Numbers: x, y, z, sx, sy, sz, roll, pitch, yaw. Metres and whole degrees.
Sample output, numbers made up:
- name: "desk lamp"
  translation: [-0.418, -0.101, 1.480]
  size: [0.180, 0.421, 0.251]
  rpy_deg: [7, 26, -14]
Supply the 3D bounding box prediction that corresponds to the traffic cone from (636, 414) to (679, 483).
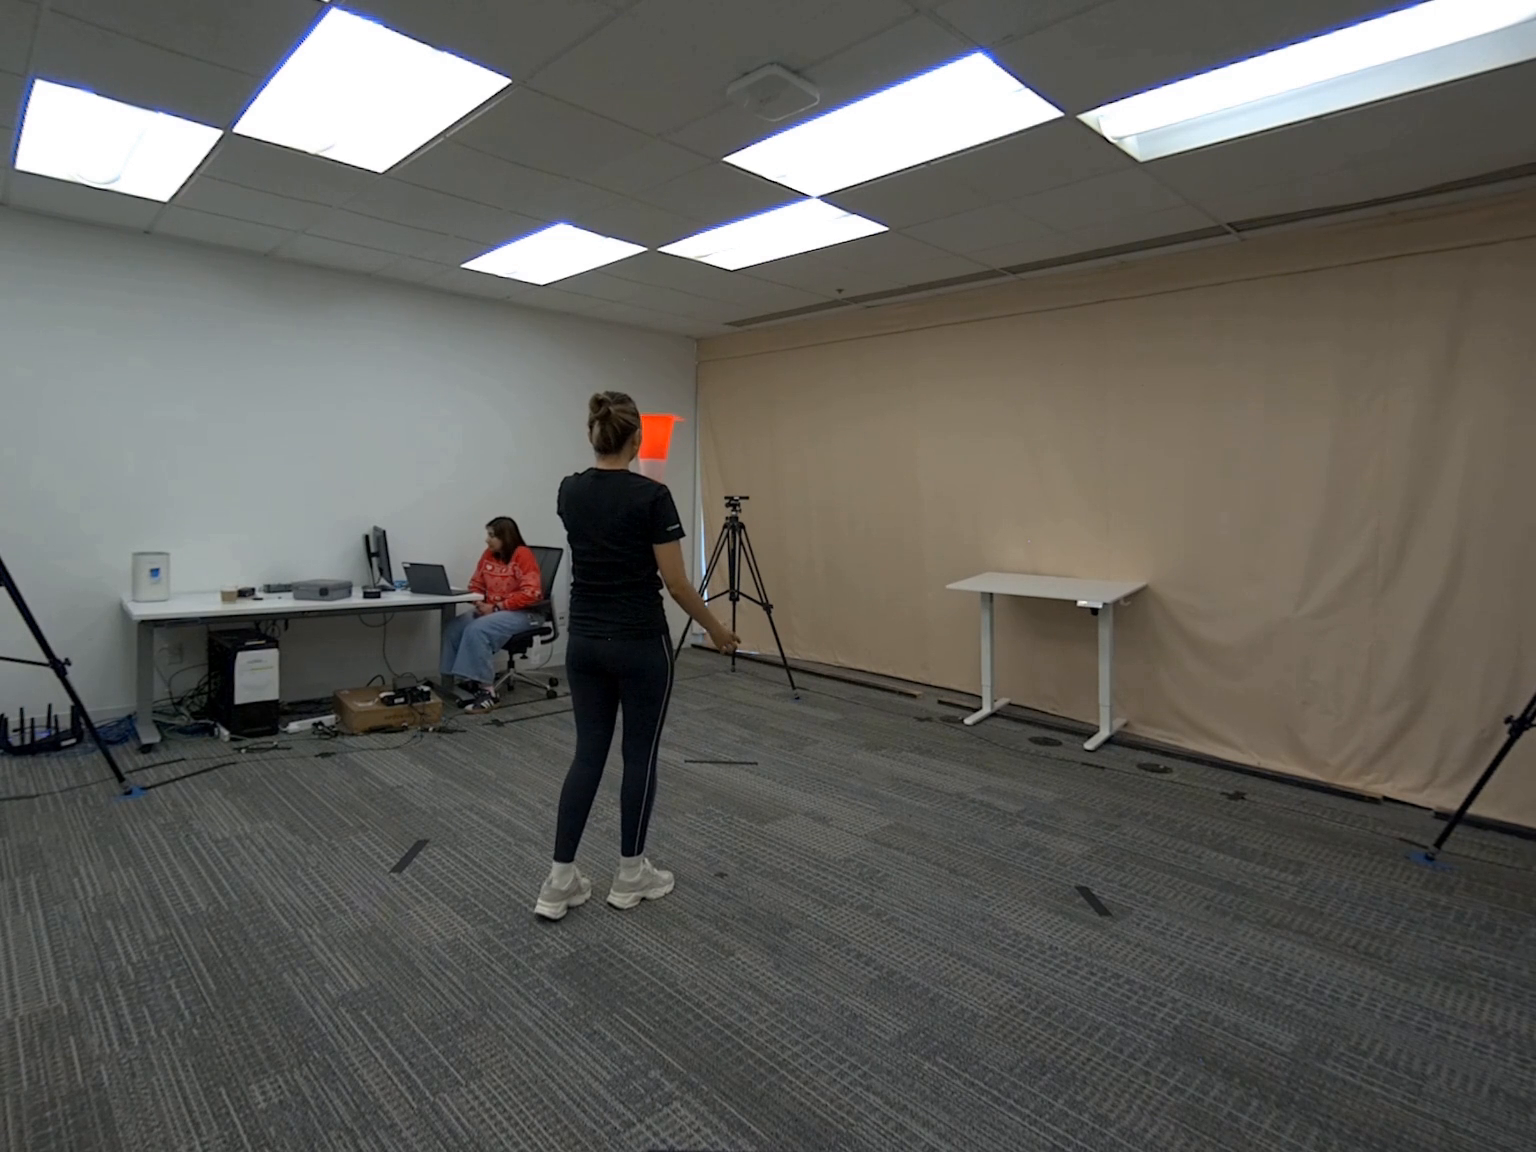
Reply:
- name: "traffic cone"
  translation: [-0.460, -0.427, 3.261]
  size: [0.207, 0.383, 0.202]
  rpy_deg: [3, 4, 13]
